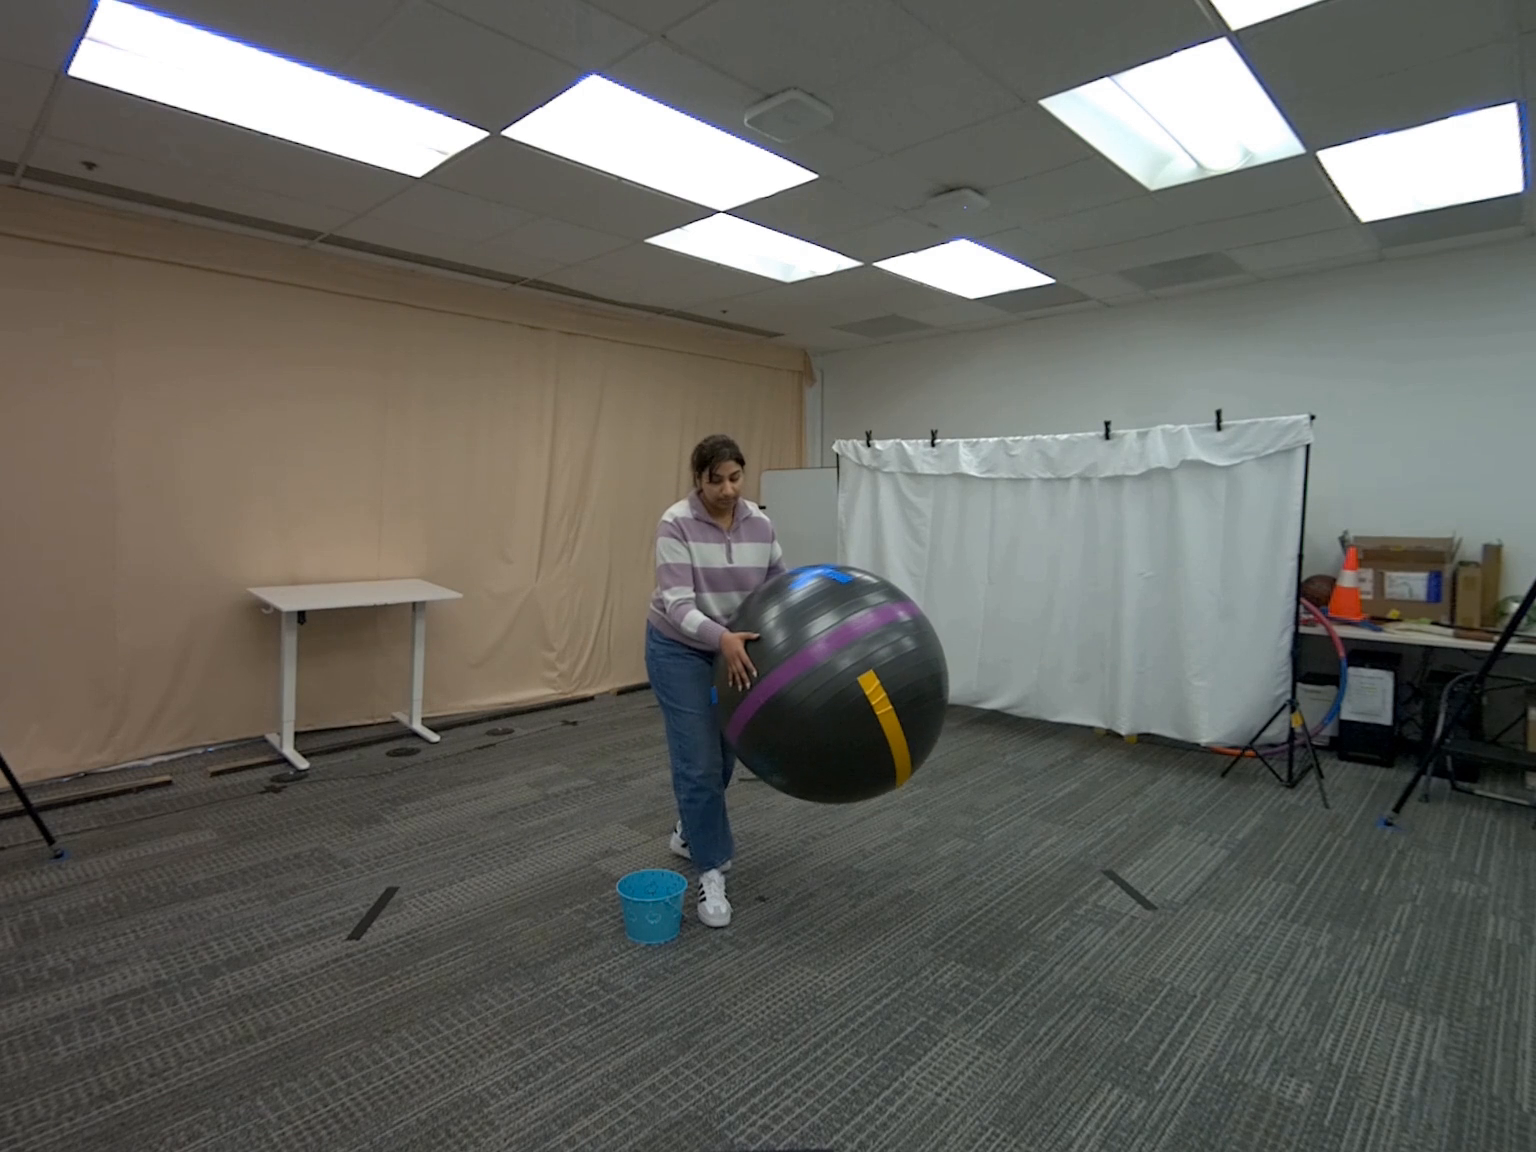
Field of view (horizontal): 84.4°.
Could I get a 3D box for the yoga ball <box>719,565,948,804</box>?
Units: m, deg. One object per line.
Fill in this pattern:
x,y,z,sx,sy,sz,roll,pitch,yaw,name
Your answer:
0.195,0.355,2.716,0.757,0.756,0.760,0,4,-2,yoga ball
